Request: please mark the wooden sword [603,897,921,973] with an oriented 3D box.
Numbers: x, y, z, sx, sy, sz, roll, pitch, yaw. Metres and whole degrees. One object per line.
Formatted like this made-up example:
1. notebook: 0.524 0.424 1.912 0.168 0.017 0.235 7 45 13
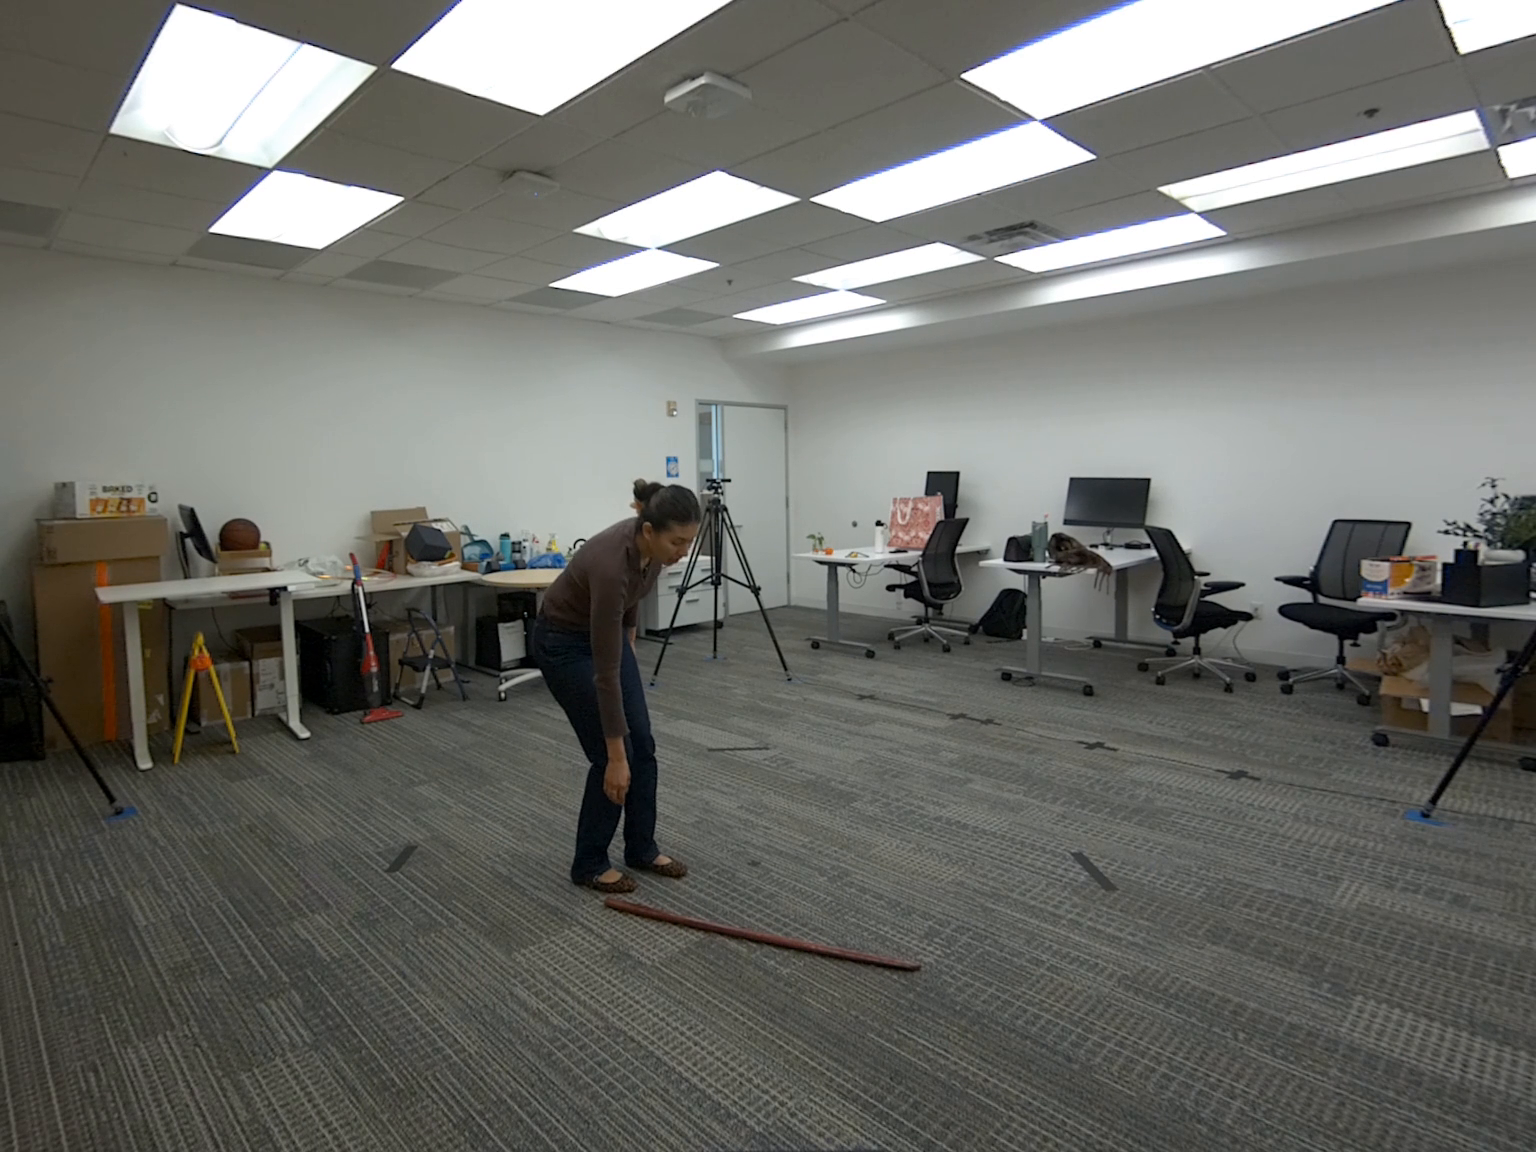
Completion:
1. wooden sword: -0.052 1.080 2.606 1.046 0.024 0.050 2 -7 22
